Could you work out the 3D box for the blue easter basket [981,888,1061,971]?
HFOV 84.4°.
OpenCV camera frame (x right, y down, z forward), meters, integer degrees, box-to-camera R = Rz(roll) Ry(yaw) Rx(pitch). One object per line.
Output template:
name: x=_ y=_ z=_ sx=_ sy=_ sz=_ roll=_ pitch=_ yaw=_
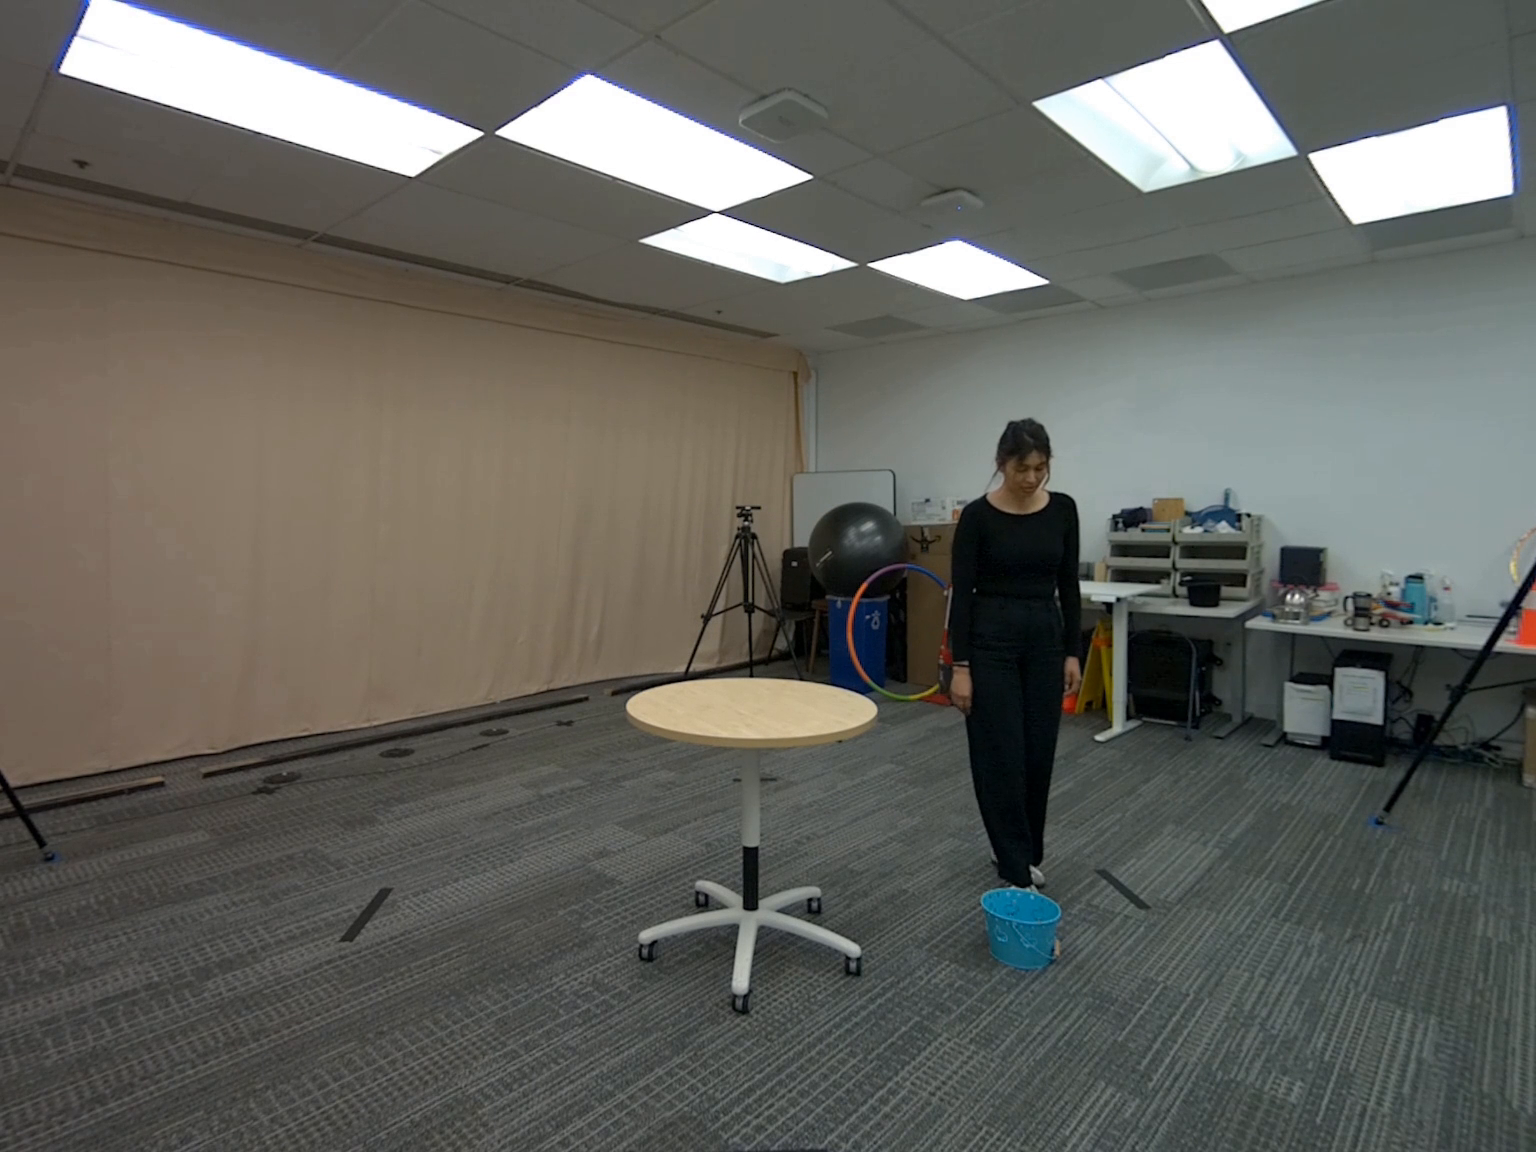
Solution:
blue easter basket: x=0.791 y=1.097 z=2.607 sx=0.243 sy=0.155 sz=0.244 roll=0 pitch=4 yaw=-2
